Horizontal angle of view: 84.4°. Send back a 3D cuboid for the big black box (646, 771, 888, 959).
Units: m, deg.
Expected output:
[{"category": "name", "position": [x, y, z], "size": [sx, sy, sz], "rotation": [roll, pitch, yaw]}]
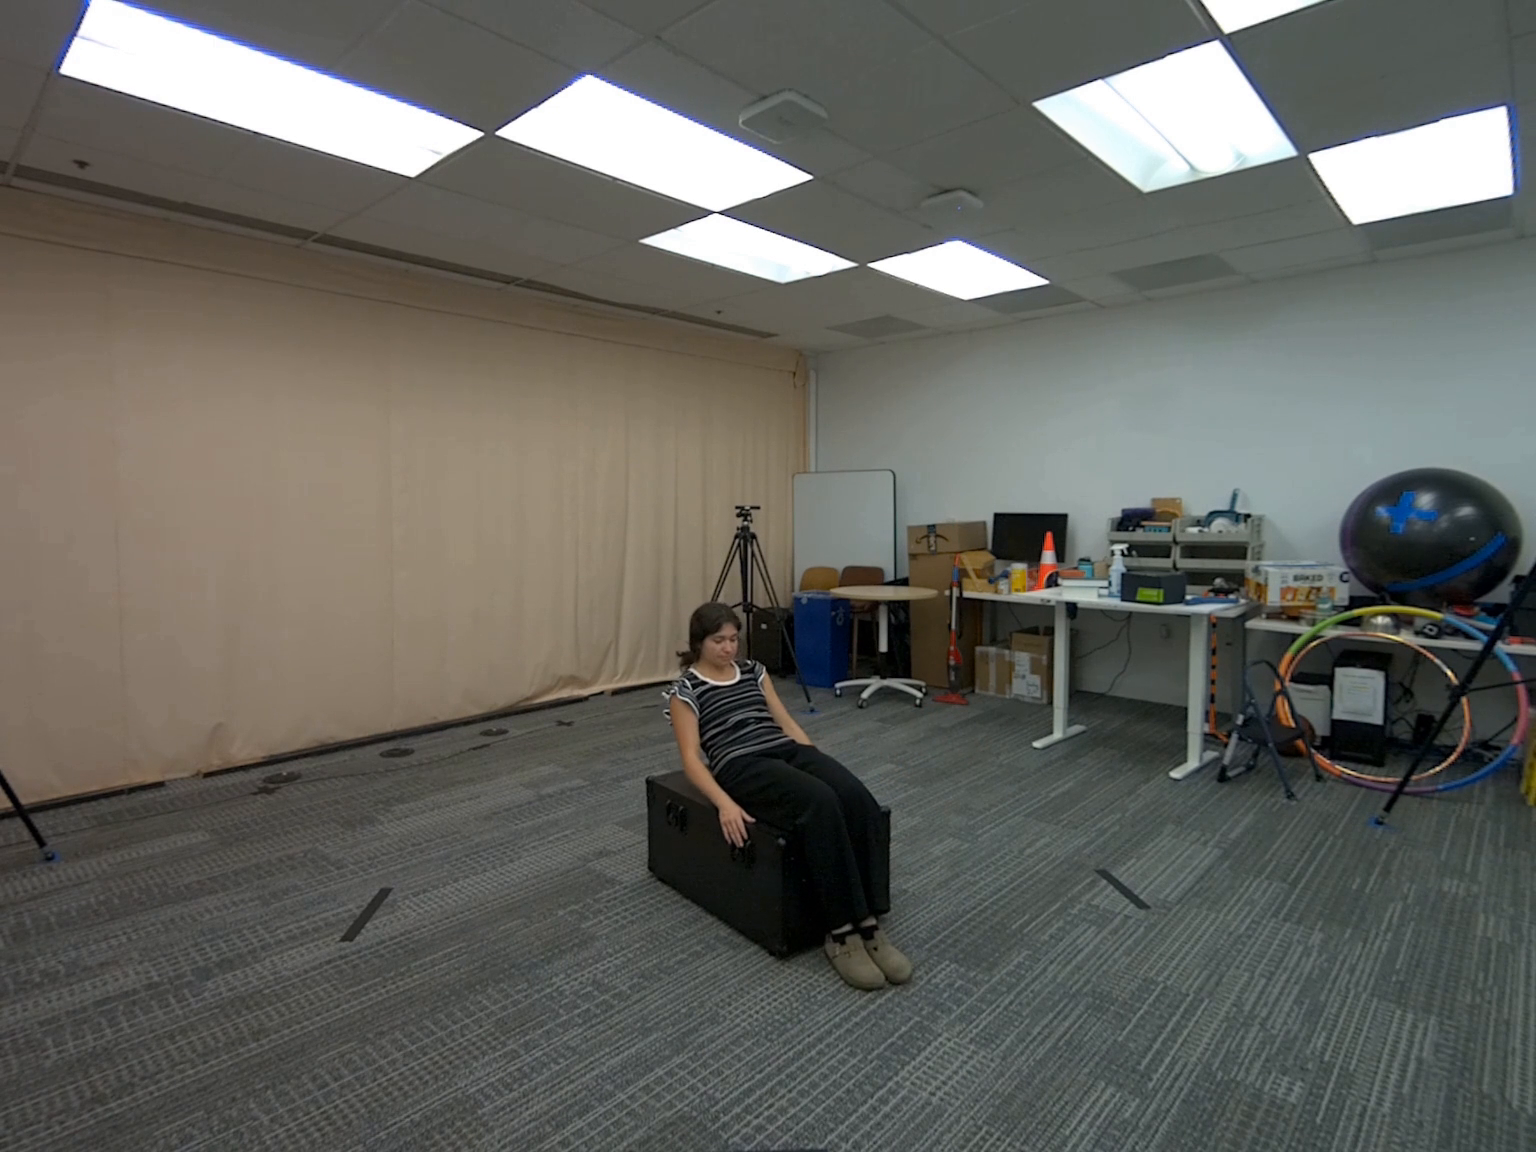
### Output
[{"category": "big black box", "position": [-0.042, 0.955, 3.030], "size": [0.506, 0.395, 0.890], "rotation": [-4, 7, -38]}]
